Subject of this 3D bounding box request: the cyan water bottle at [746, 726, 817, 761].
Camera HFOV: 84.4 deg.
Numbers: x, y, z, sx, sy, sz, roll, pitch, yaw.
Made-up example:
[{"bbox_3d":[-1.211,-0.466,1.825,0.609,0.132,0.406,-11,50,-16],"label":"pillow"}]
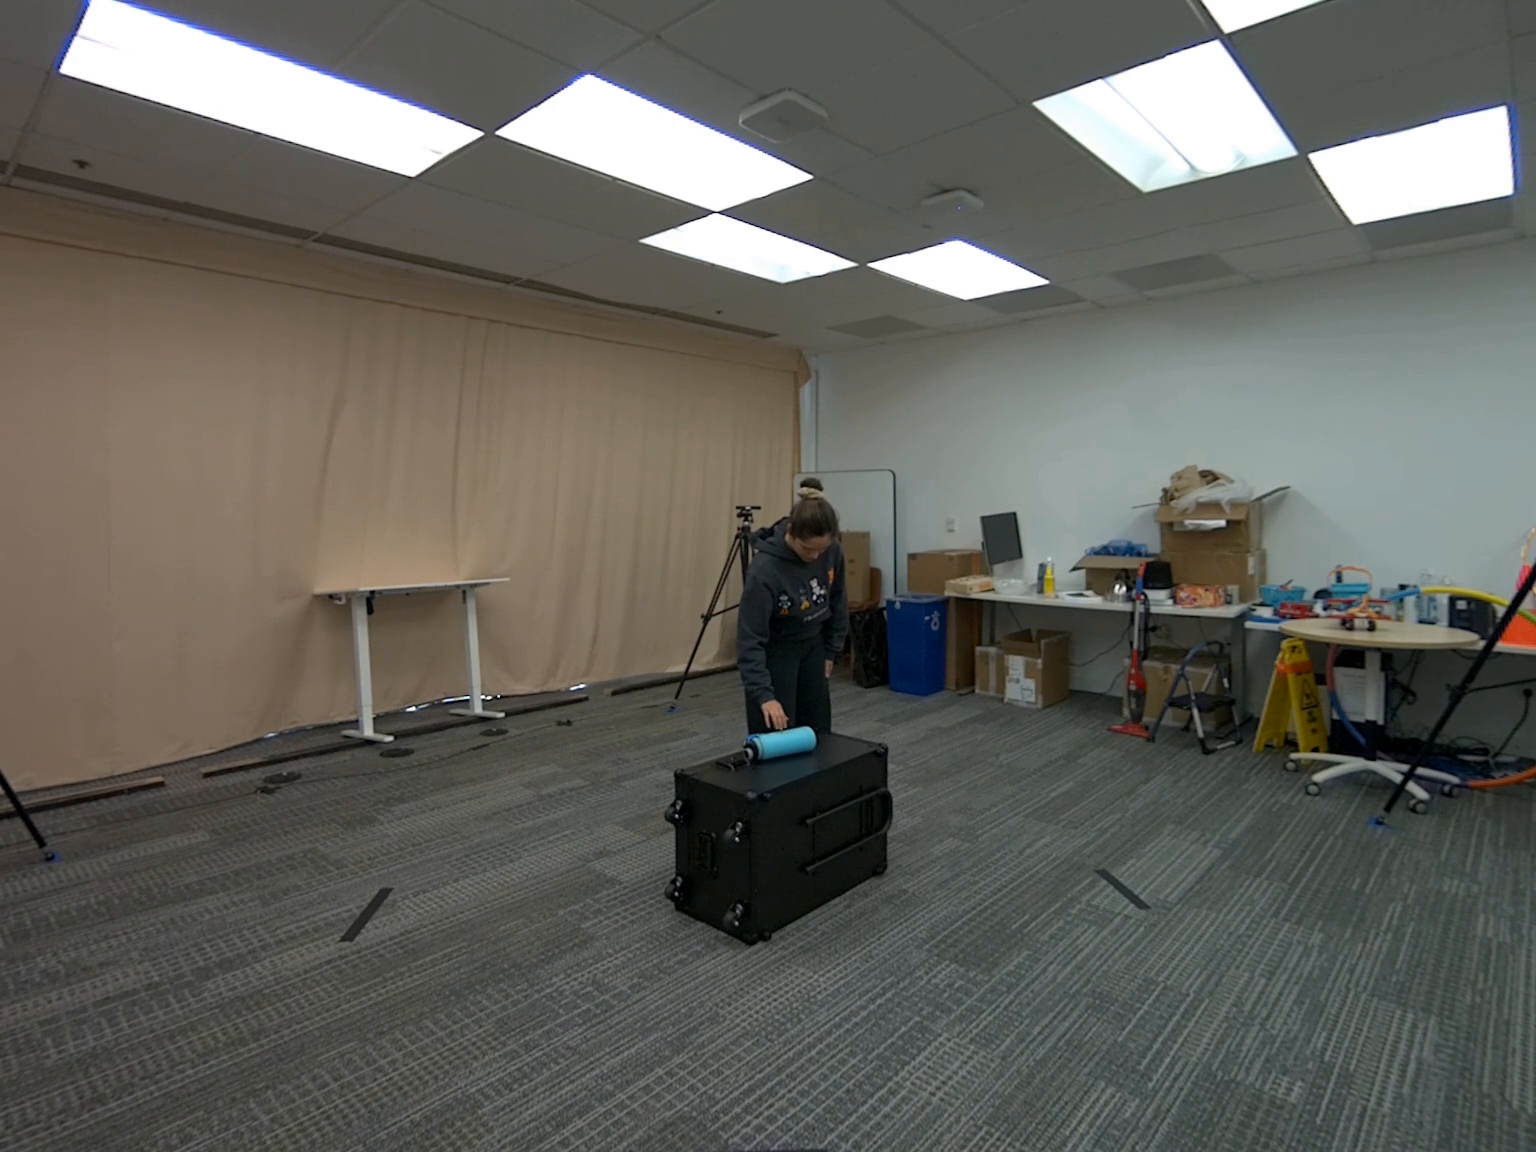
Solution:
[{"bbox_3d":[0.053,0.601,3.054,0.276,0.092,0.095,-4,5,-30],"label":"cyan water bottle"}]
